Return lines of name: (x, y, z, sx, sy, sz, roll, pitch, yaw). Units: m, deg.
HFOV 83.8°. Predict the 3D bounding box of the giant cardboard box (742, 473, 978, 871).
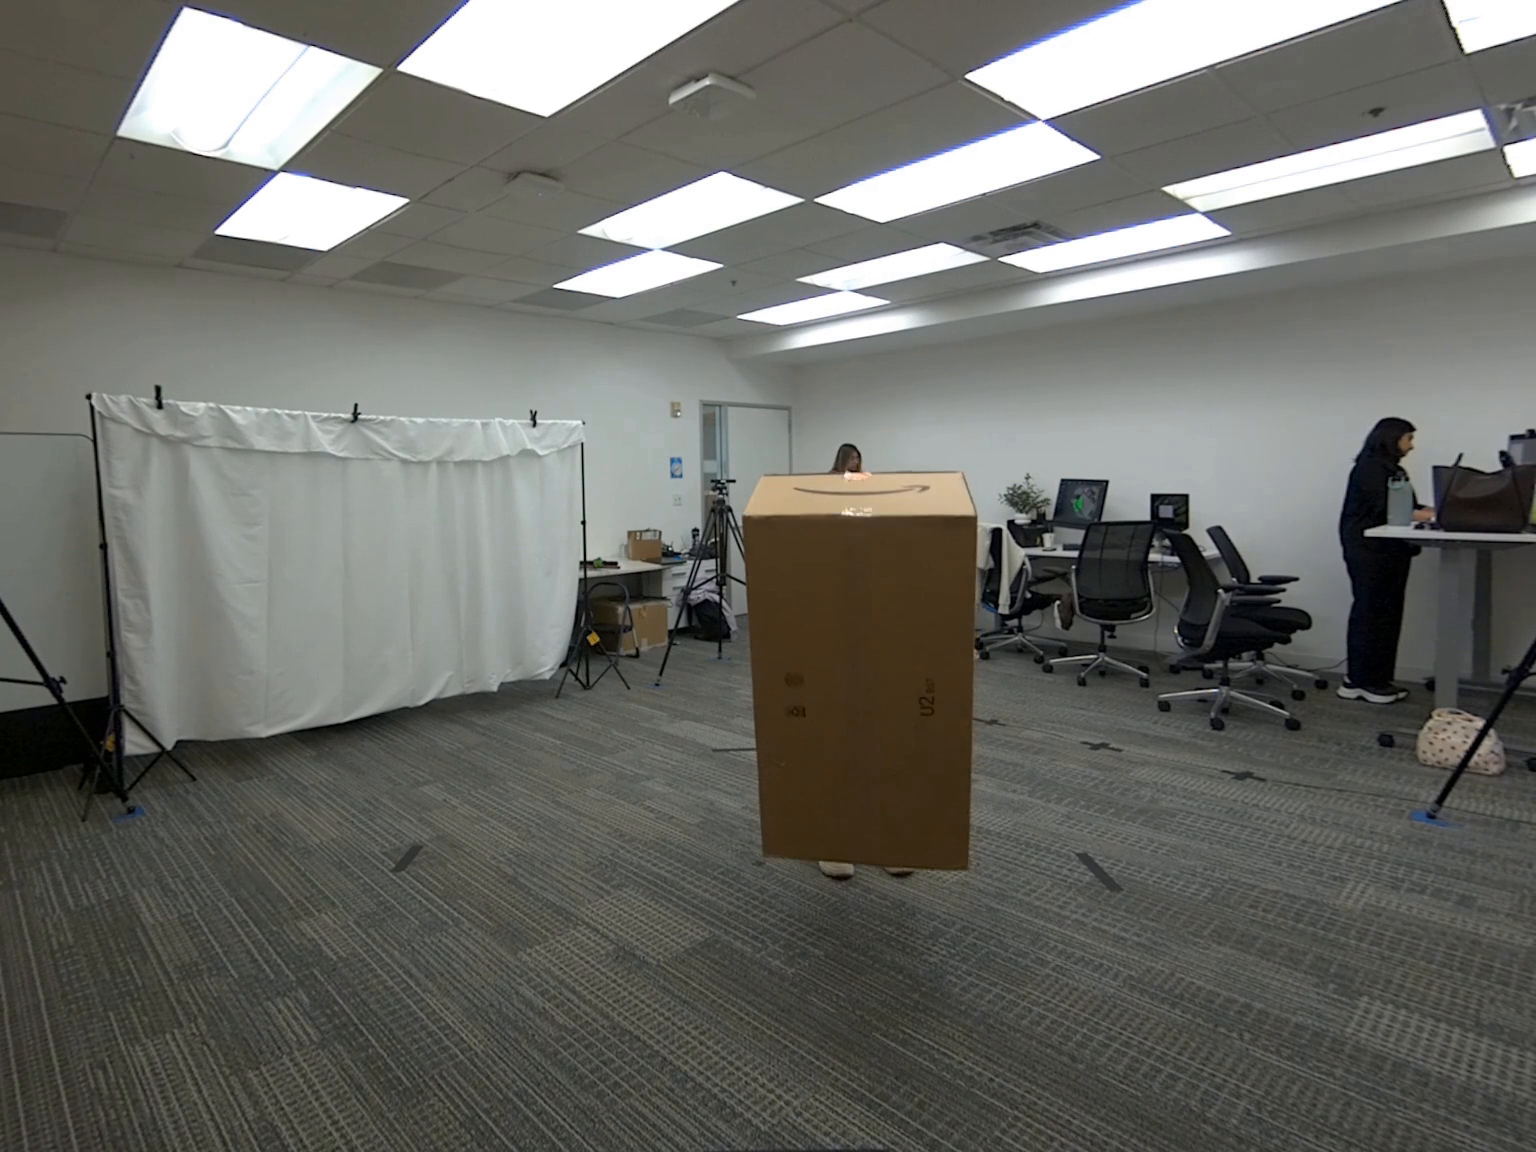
giant cardboard box: (0.270, 0.252, 2.420, 0.590, 1.010, 0.449, 0, 18, 10)
